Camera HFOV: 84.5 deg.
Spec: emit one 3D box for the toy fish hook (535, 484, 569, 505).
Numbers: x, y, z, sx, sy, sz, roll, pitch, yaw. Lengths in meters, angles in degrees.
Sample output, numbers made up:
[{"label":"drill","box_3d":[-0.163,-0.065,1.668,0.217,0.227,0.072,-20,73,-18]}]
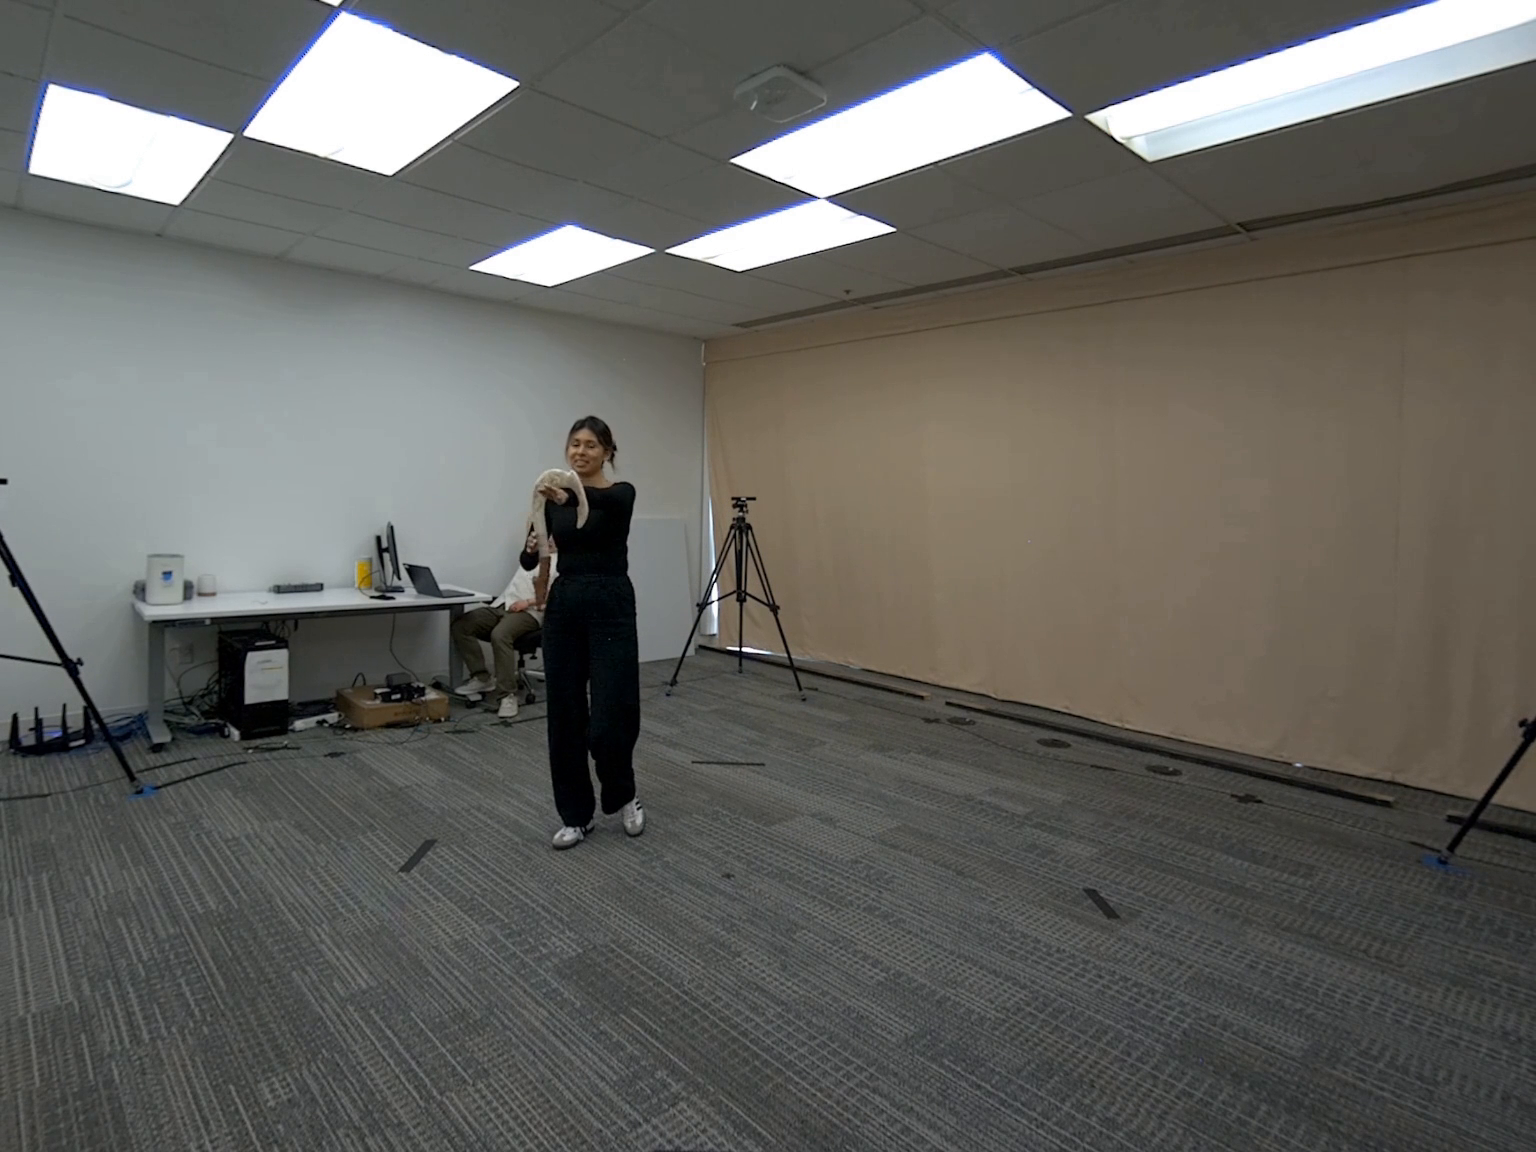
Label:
[{"label":"toy fish hook","box_3d":[-0.737,-0.115,2.945,0.229,0.505,0.047,6,5,22]}]
